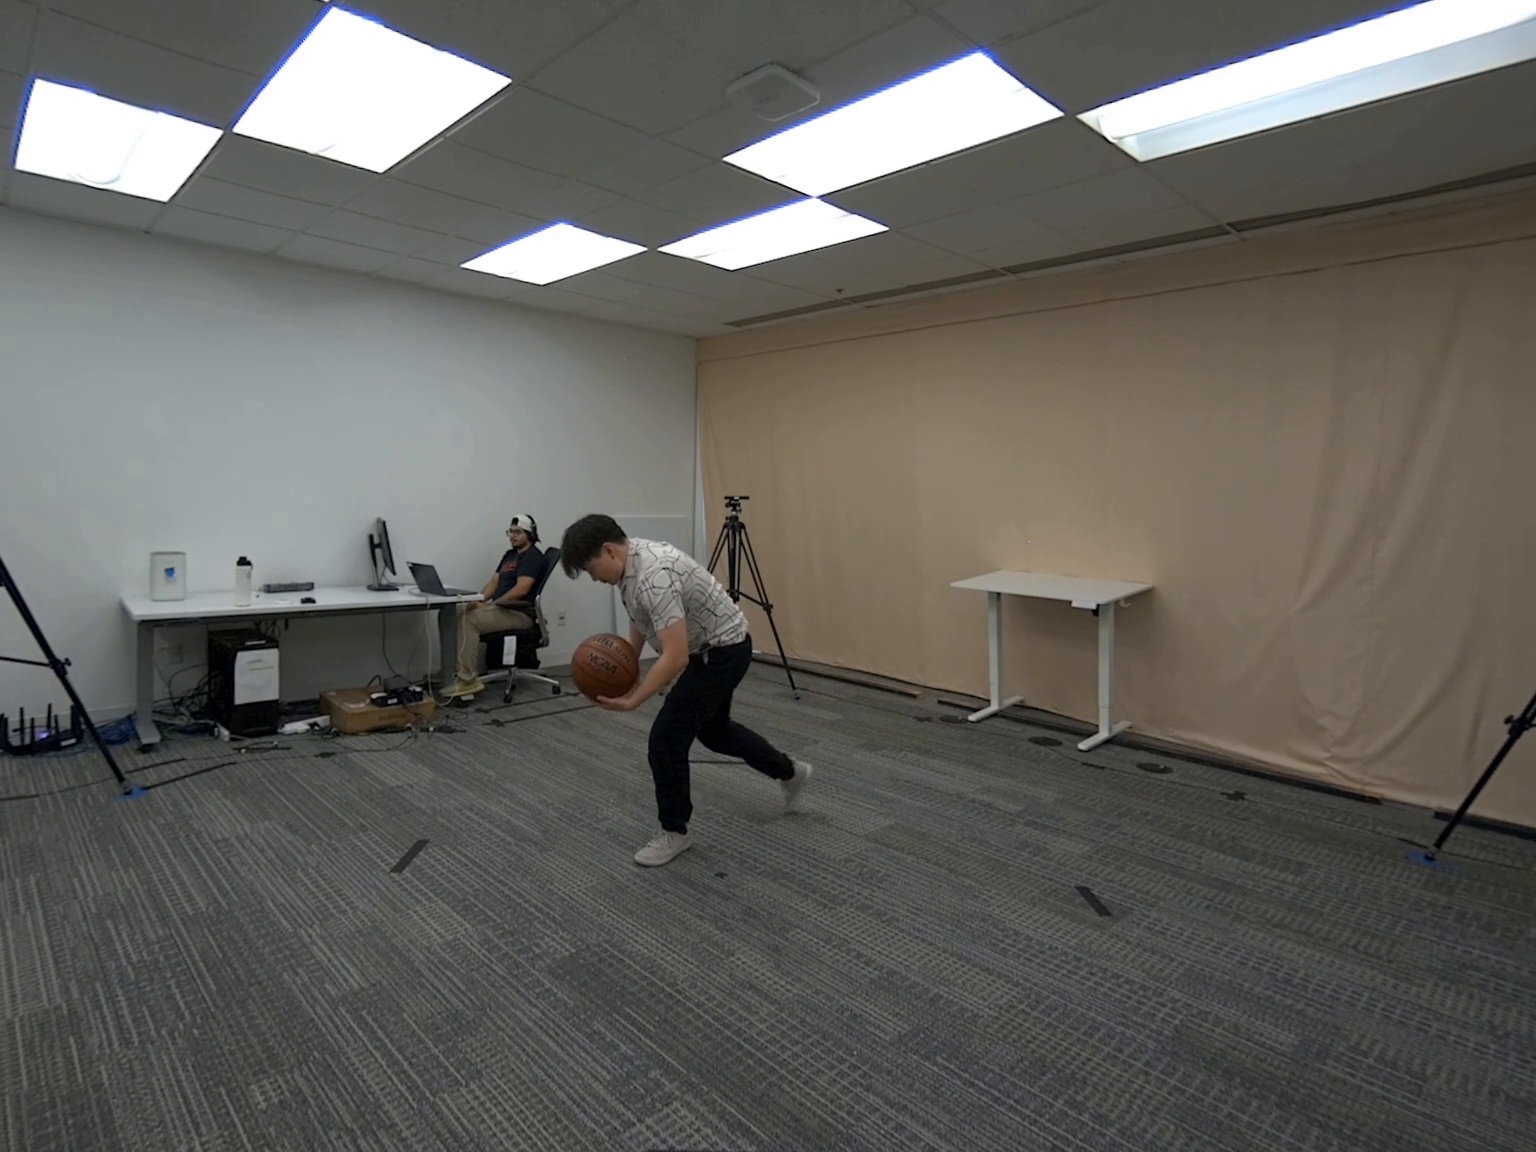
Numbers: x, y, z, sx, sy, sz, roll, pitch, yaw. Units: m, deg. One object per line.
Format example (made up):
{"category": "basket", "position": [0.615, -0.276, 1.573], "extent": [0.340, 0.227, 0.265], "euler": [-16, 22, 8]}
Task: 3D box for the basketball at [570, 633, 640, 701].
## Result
{"category": "basketball", "position": [-0.586, 0.325, 2.974], "extent": [0.236, 0.235, 0.237], "euler": [1, 4, -1]}
